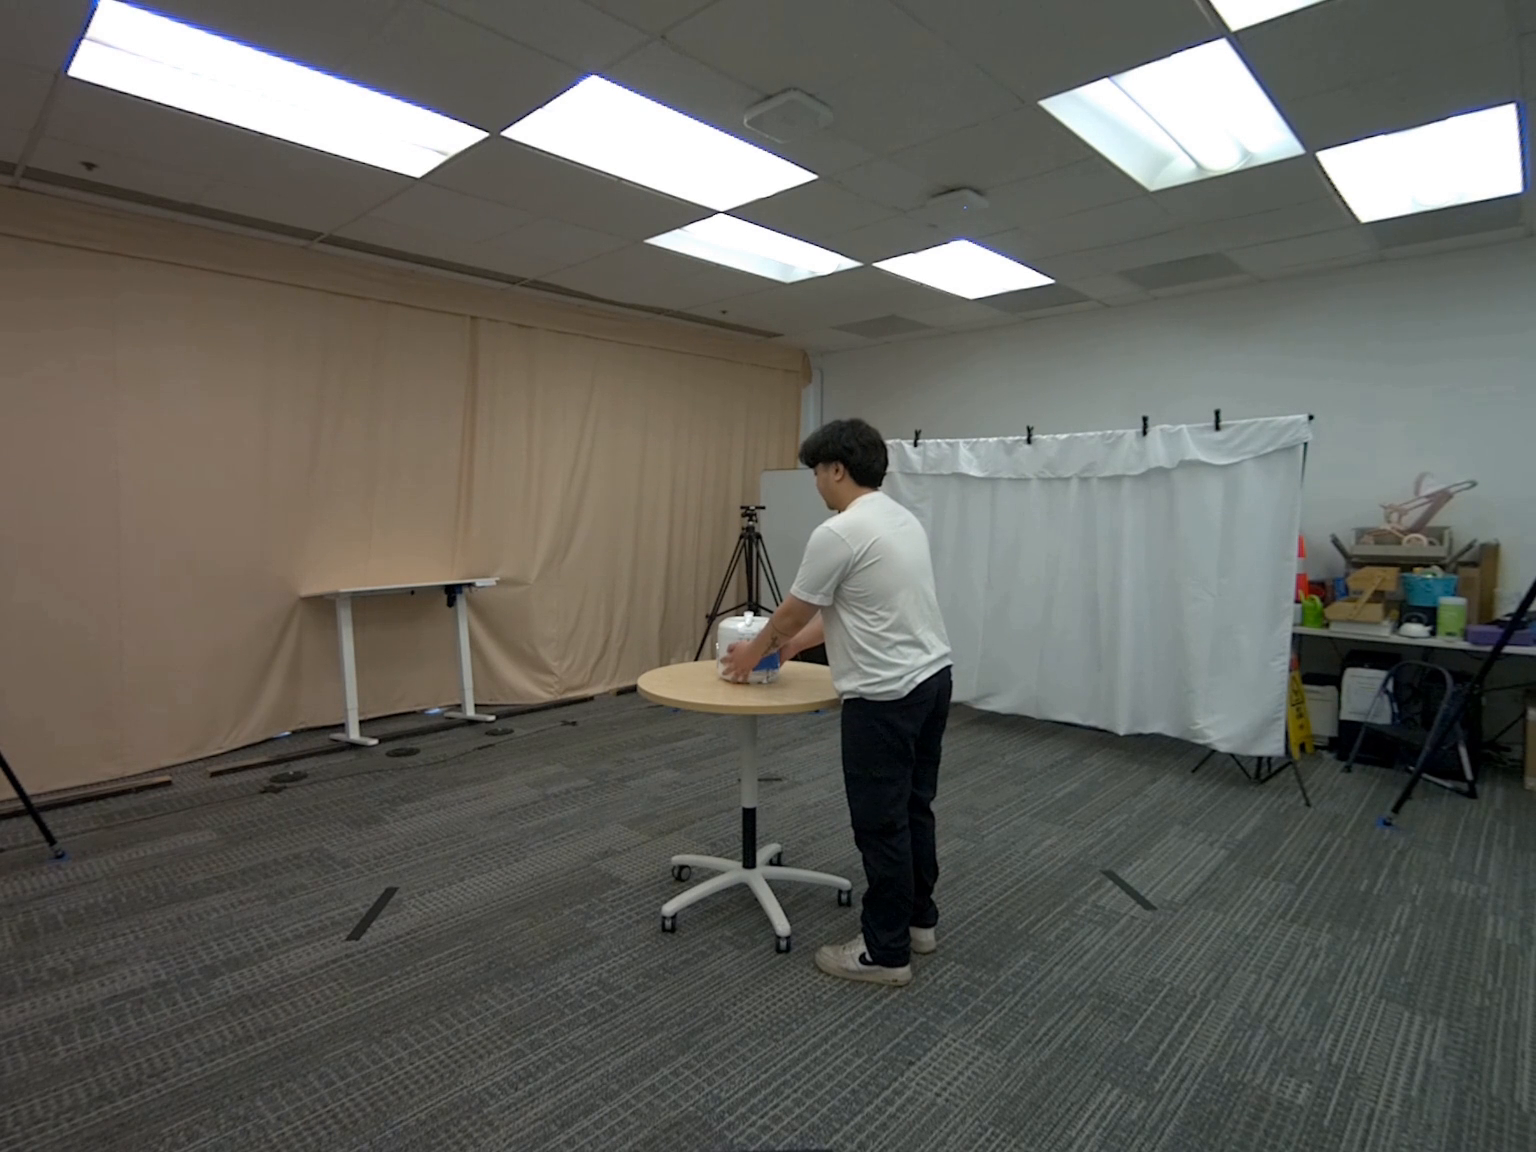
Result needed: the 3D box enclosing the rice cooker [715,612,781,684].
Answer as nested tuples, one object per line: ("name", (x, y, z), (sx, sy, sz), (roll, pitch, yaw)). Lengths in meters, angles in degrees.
("rice cooker", (-0.069, 0.236, 2.896), (0.217, 0.232, 0.221), (1, 3, -1))
